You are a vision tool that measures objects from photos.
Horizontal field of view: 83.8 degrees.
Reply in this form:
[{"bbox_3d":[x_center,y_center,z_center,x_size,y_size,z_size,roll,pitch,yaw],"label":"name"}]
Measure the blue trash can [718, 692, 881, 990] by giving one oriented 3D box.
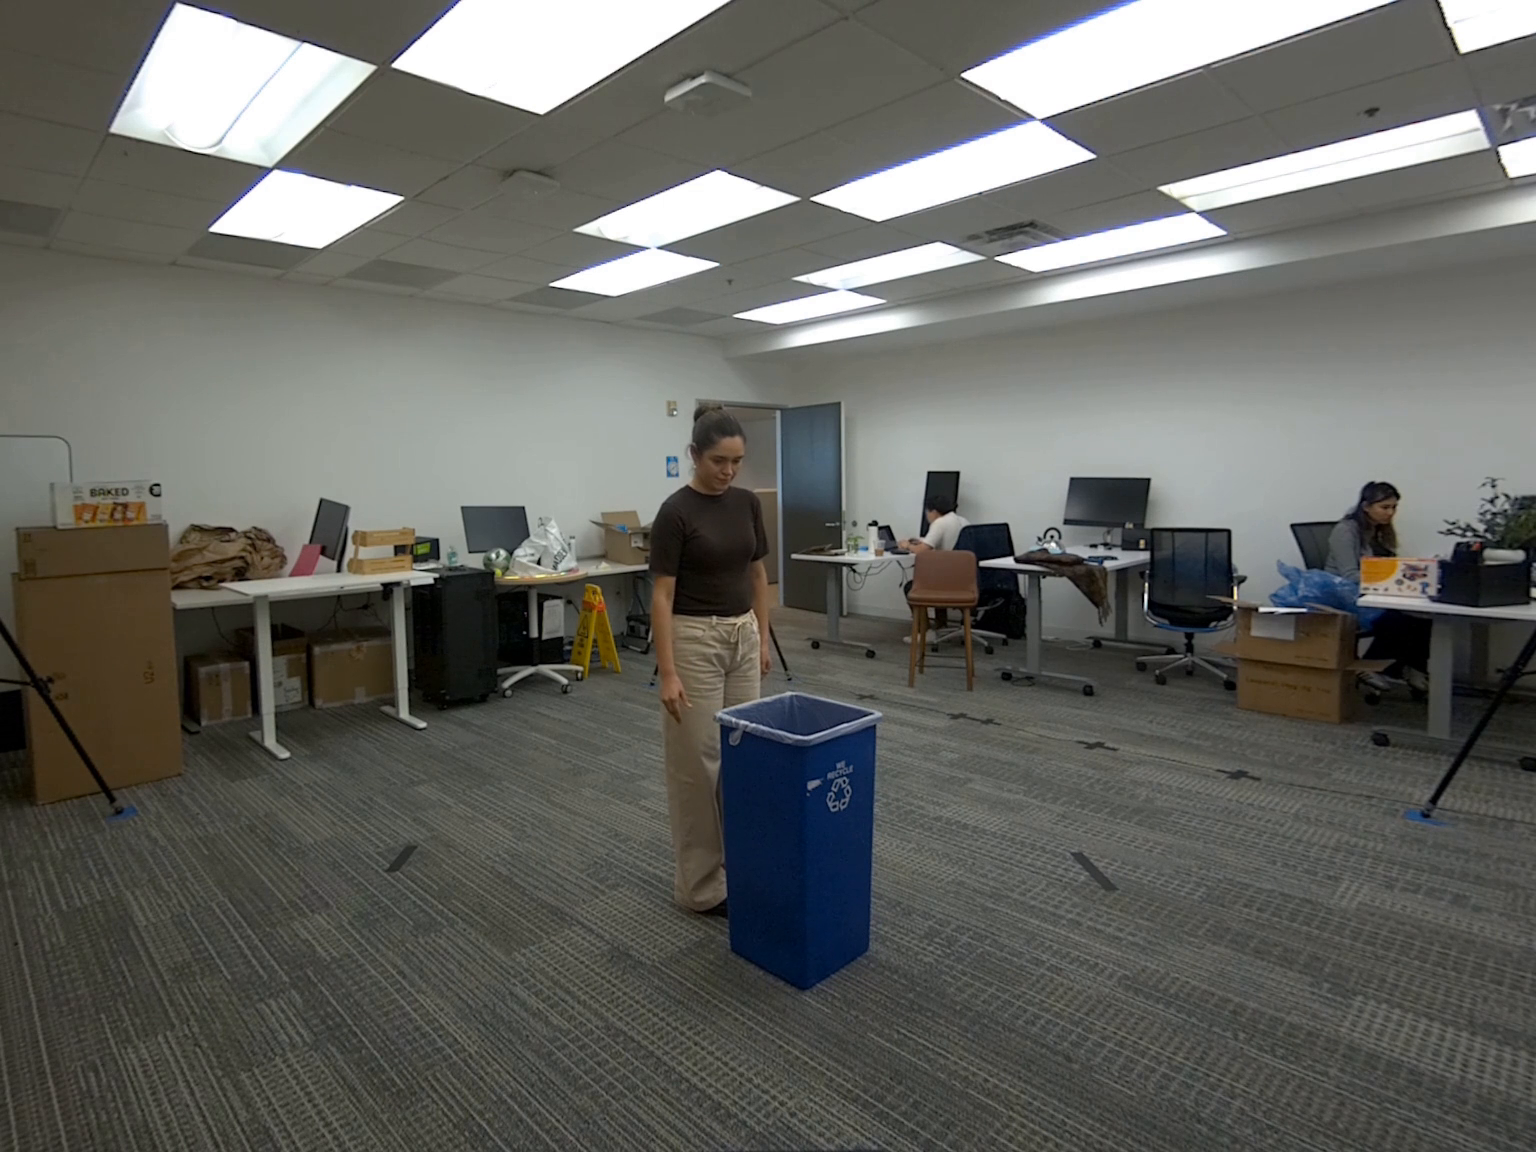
[{"bbox_3d":[0.101,0.754,2.505,0.385,0.711,0.368,3,6,44],"label":"blue trash can"}]
